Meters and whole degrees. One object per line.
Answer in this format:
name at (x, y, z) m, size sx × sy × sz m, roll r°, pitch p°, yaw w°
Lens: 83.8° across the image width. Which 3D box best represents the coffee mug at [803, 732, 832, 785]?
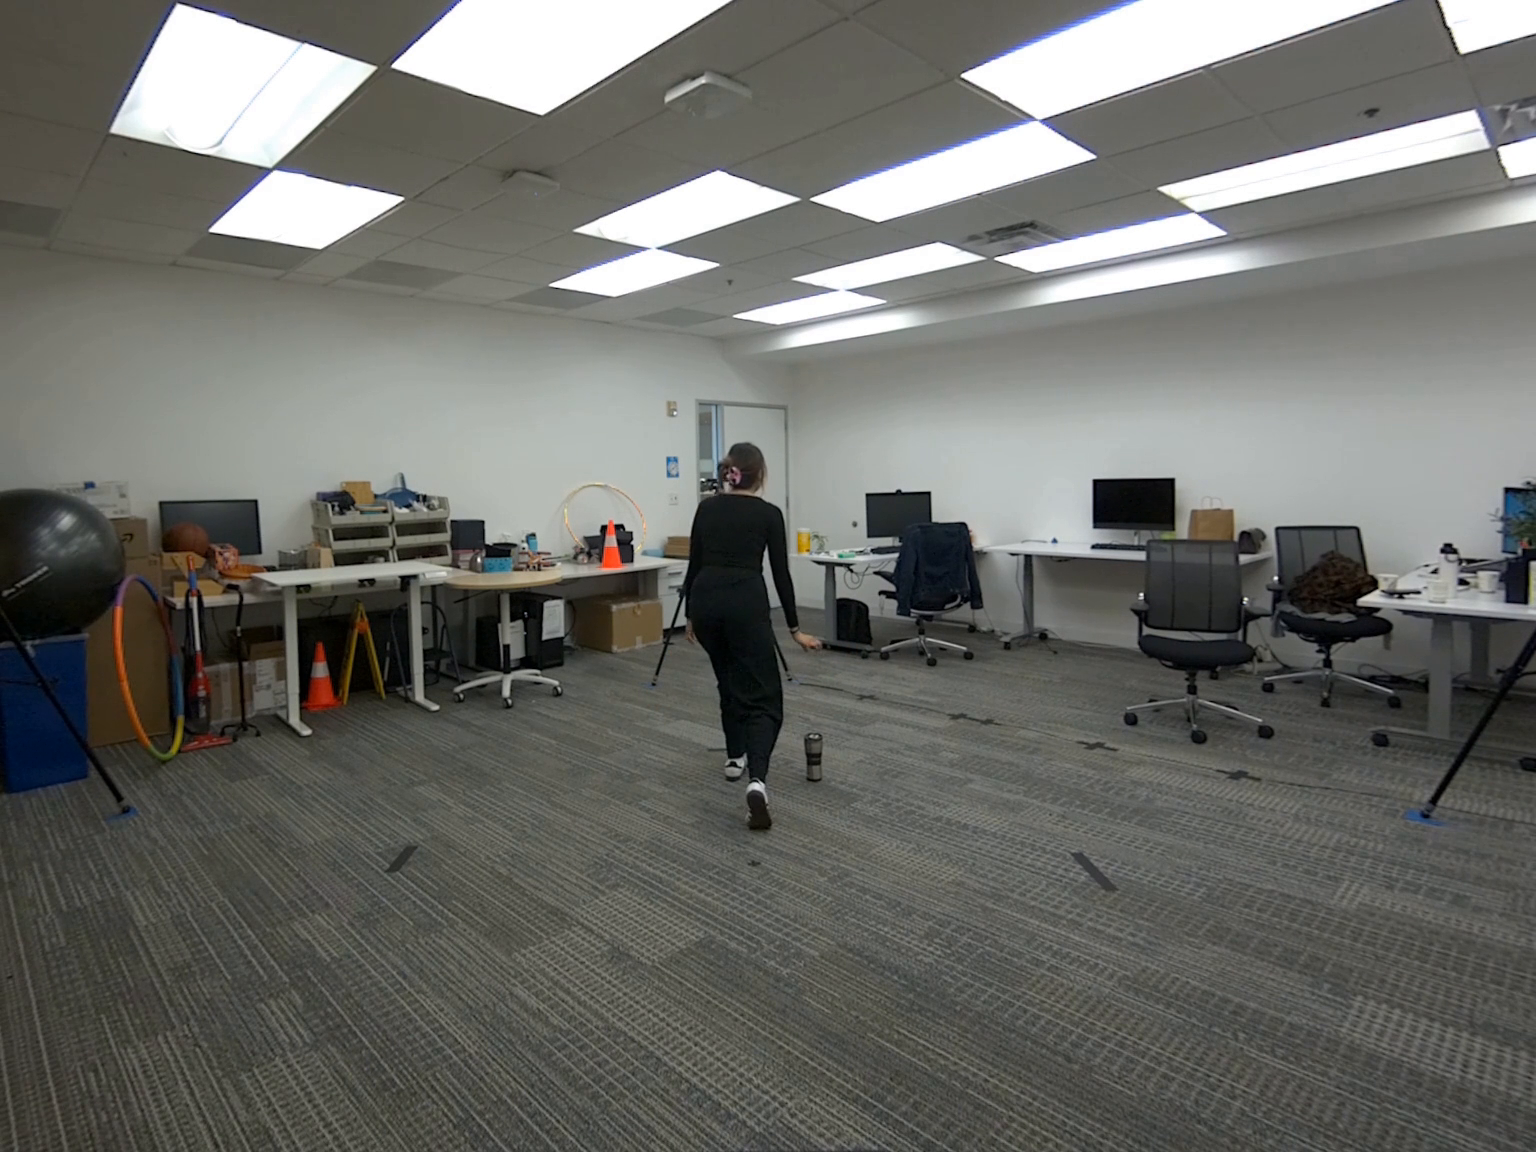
coffee mug at (0.229, 0.843, 3.986) m, size 0.089 × 0.202 × 0.121 m, roll -4°, pitch 5°, yaw 16°
